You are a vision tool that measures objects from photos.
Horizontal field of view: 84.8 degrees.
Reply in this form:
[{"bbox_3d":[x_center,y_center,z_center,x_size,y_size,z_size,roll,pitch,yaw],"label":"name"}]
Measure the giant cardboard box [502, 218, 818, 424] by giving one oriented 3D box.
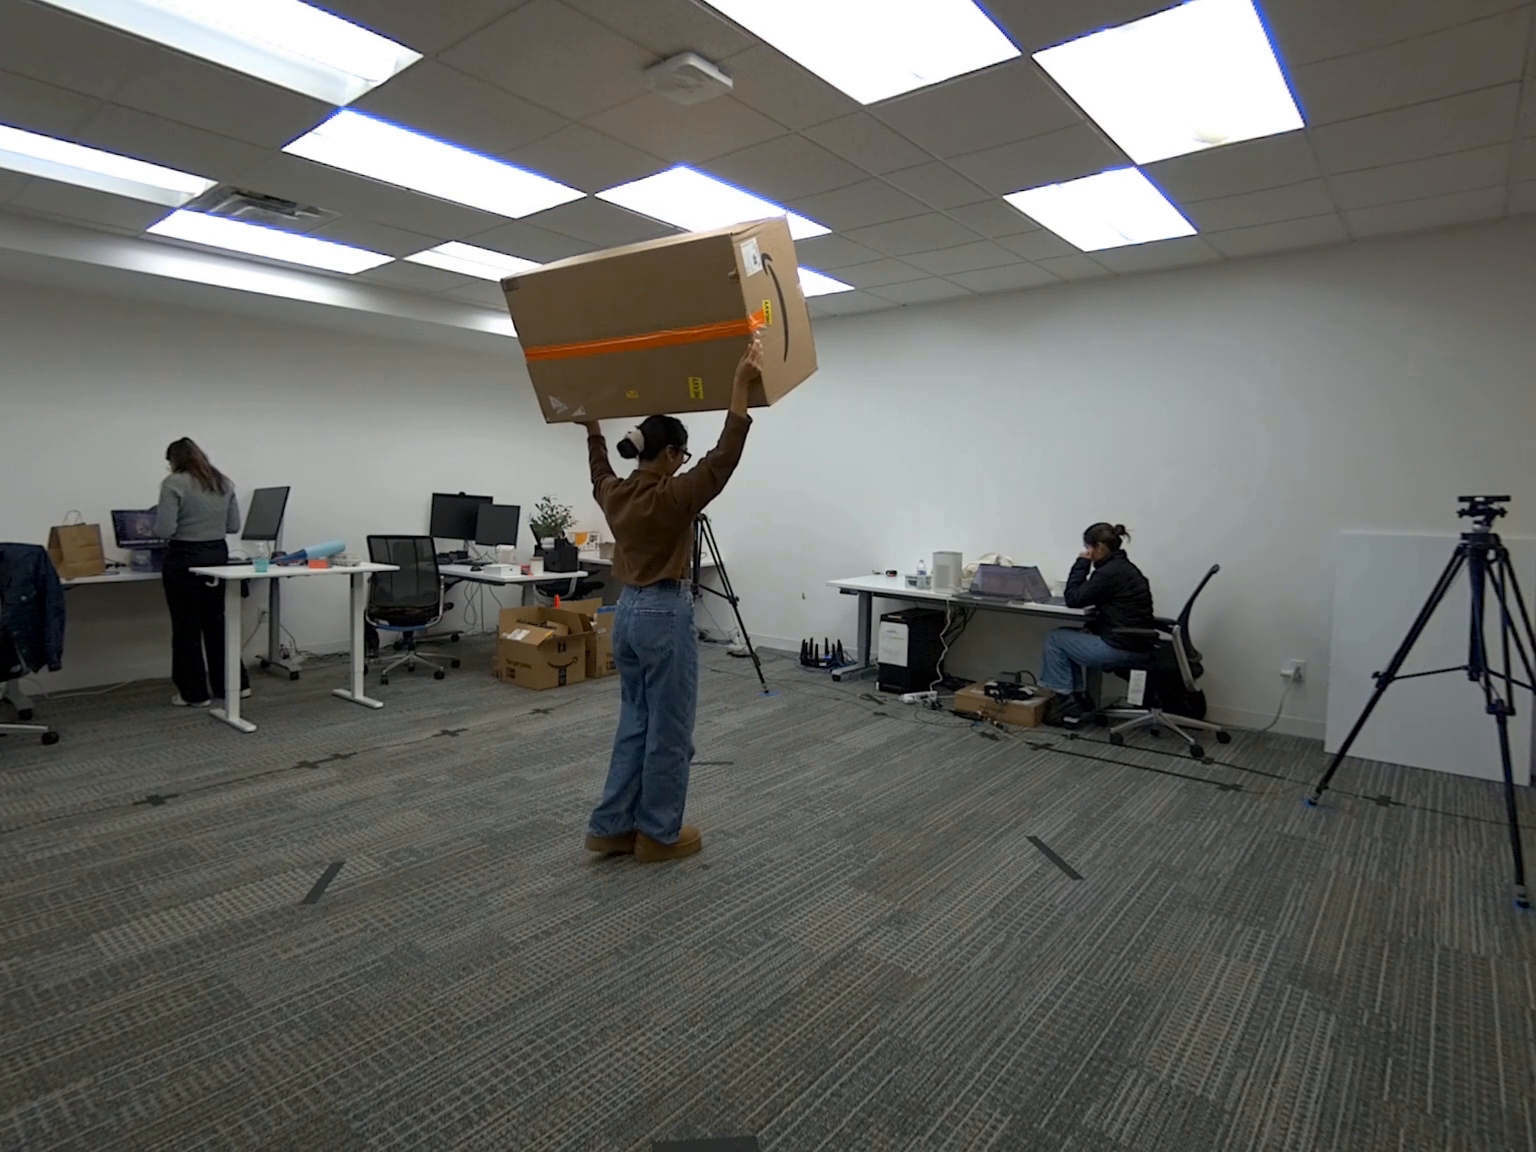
[{"bbox_3d":[-0.421,-0.936,3.176,1.056,0.563,0.425,3,29,32],"label":"giant cardboard box"}]
